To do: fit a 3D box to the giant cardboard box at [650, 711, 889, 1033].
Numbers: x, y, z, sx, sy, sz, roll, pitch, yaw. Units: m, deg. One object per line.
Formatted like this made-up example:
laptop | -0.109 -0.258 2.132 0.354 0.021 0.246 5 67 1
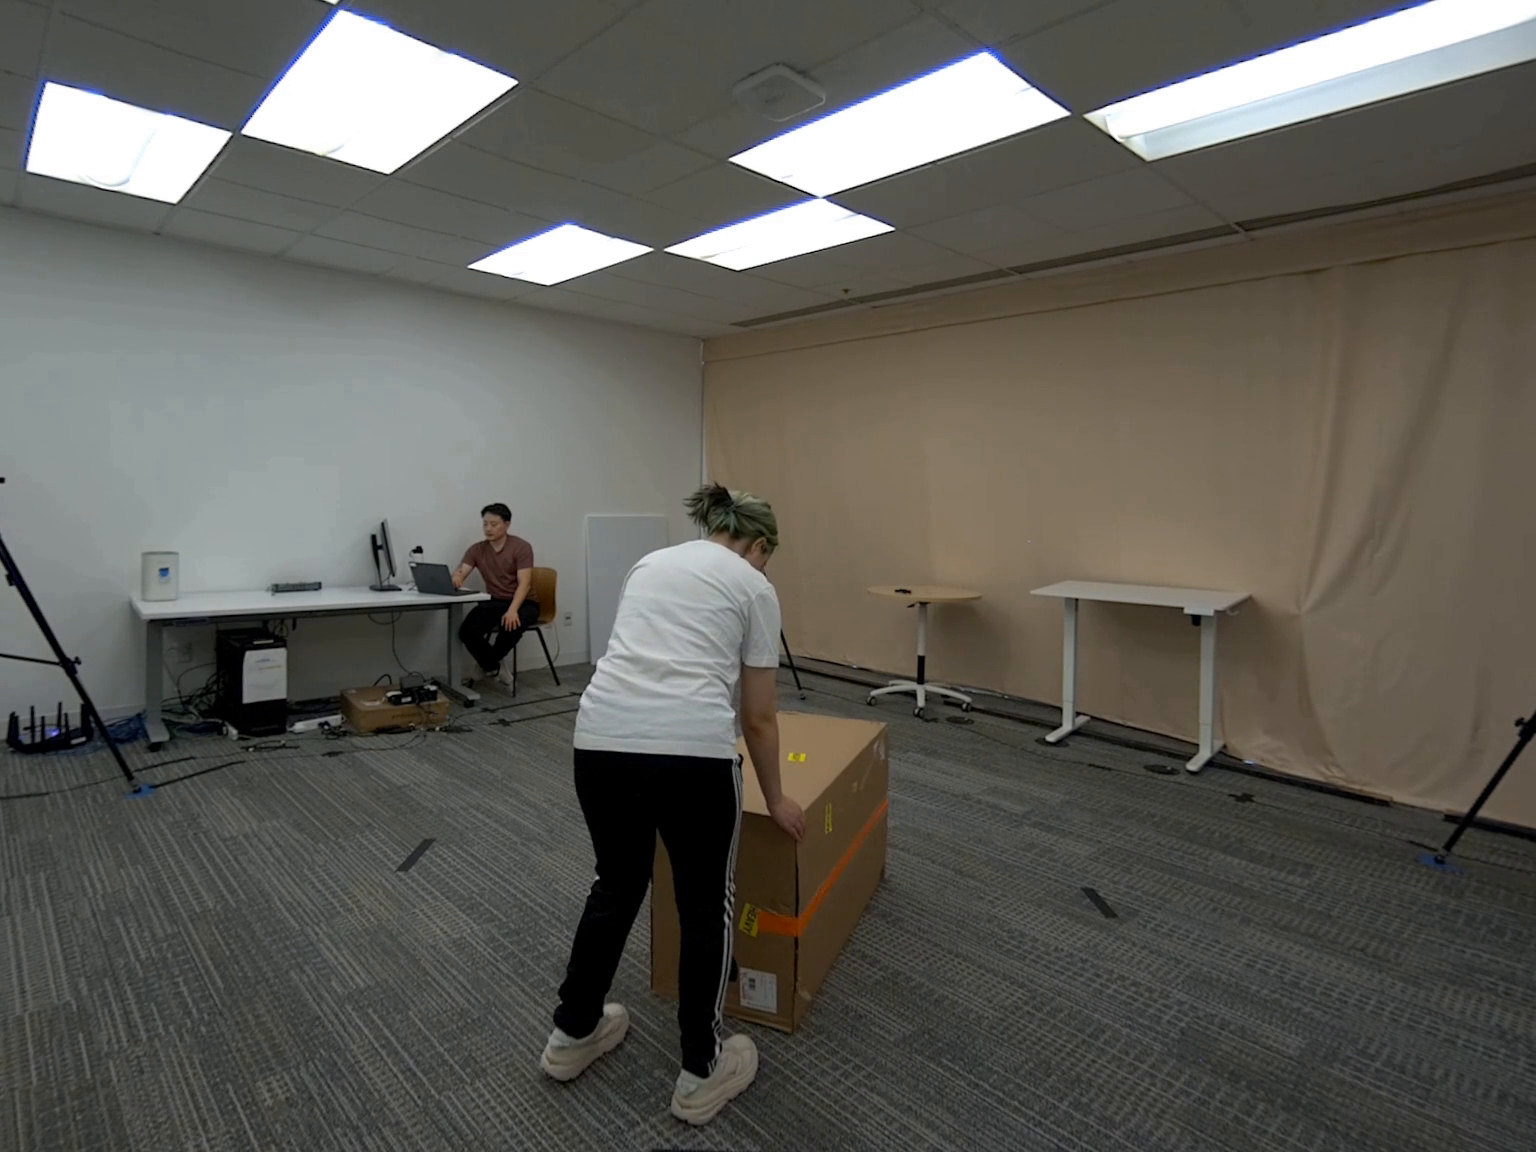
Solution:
giant cardboard box | 0.053 0.858 2.710 0.454 0.582 1.013 3 6 21
